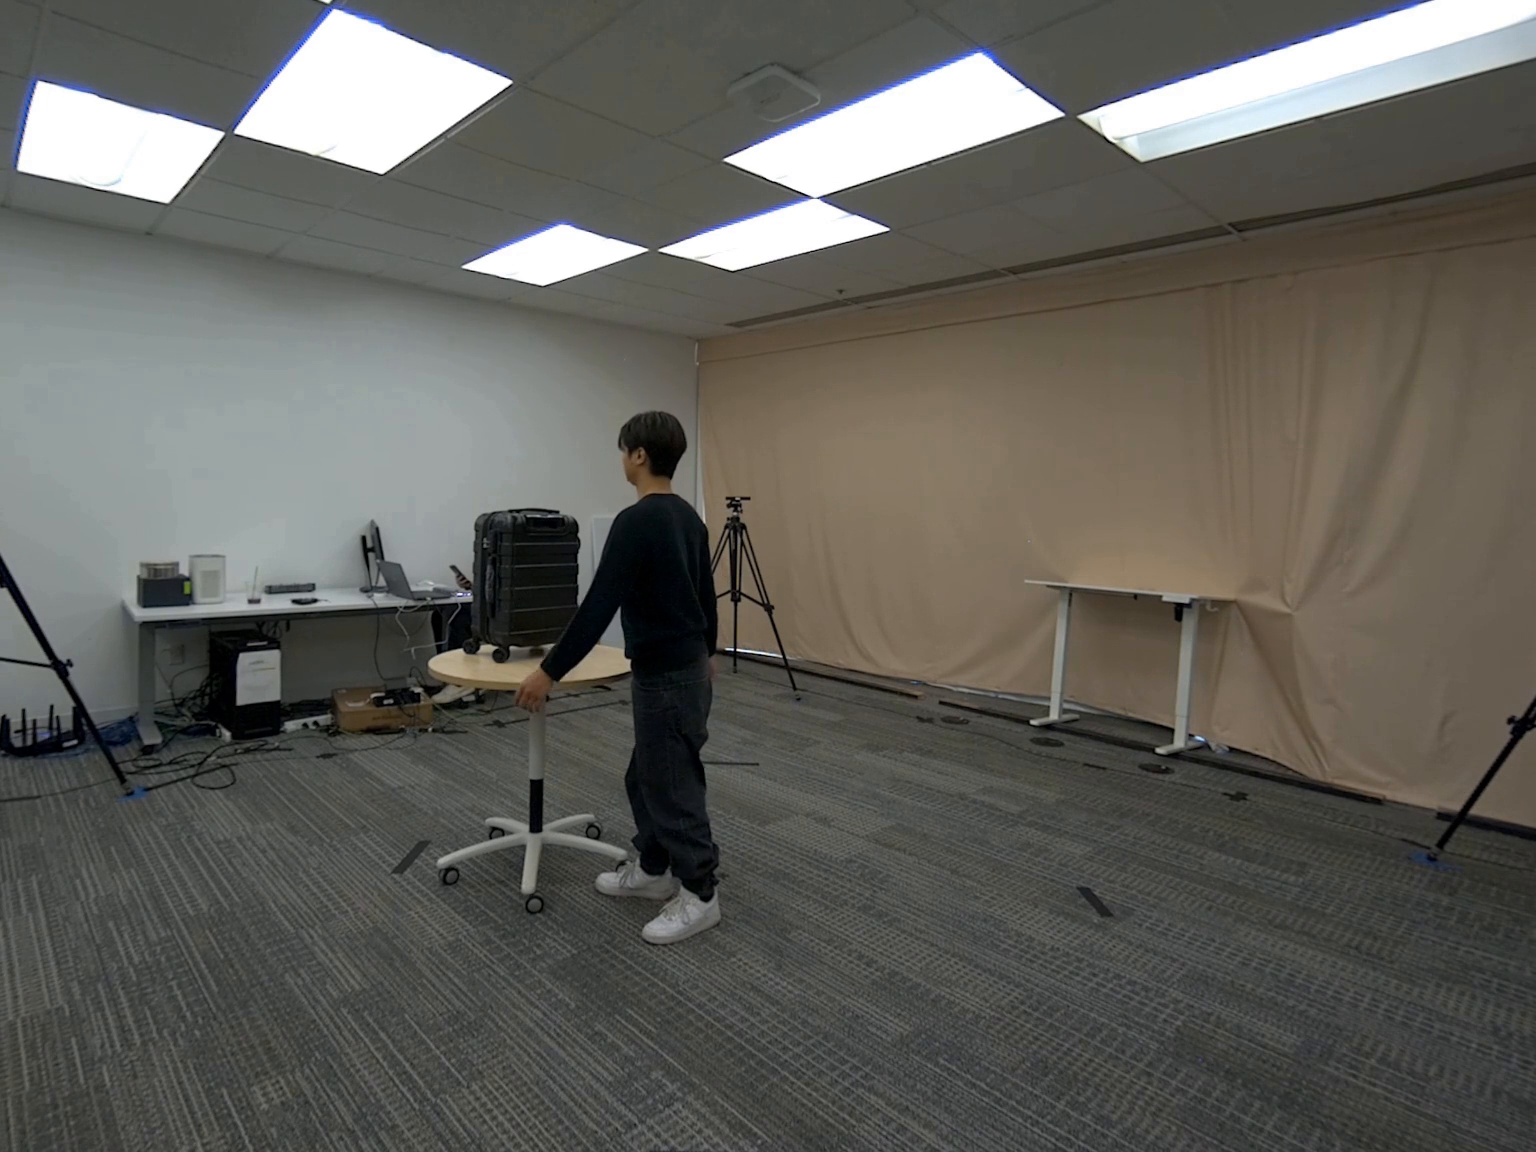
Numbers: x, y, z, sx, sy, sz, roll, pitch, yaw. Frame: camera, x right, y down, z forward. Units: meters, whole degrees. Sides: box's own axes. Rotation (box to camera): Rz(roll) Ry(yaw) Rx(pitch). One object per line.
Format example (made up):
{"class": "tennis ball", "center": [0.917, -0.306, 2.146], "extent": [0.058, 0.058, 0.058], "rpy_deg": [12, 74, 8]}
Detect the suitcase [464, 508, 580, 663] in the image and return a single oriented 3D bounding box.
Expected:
{"class": "suitcase", "center": [-0.931, 0.020, 3.194], "extent": [0.255, 0.548, 0.367], "rpy_deg": [5, 5, 43]}
